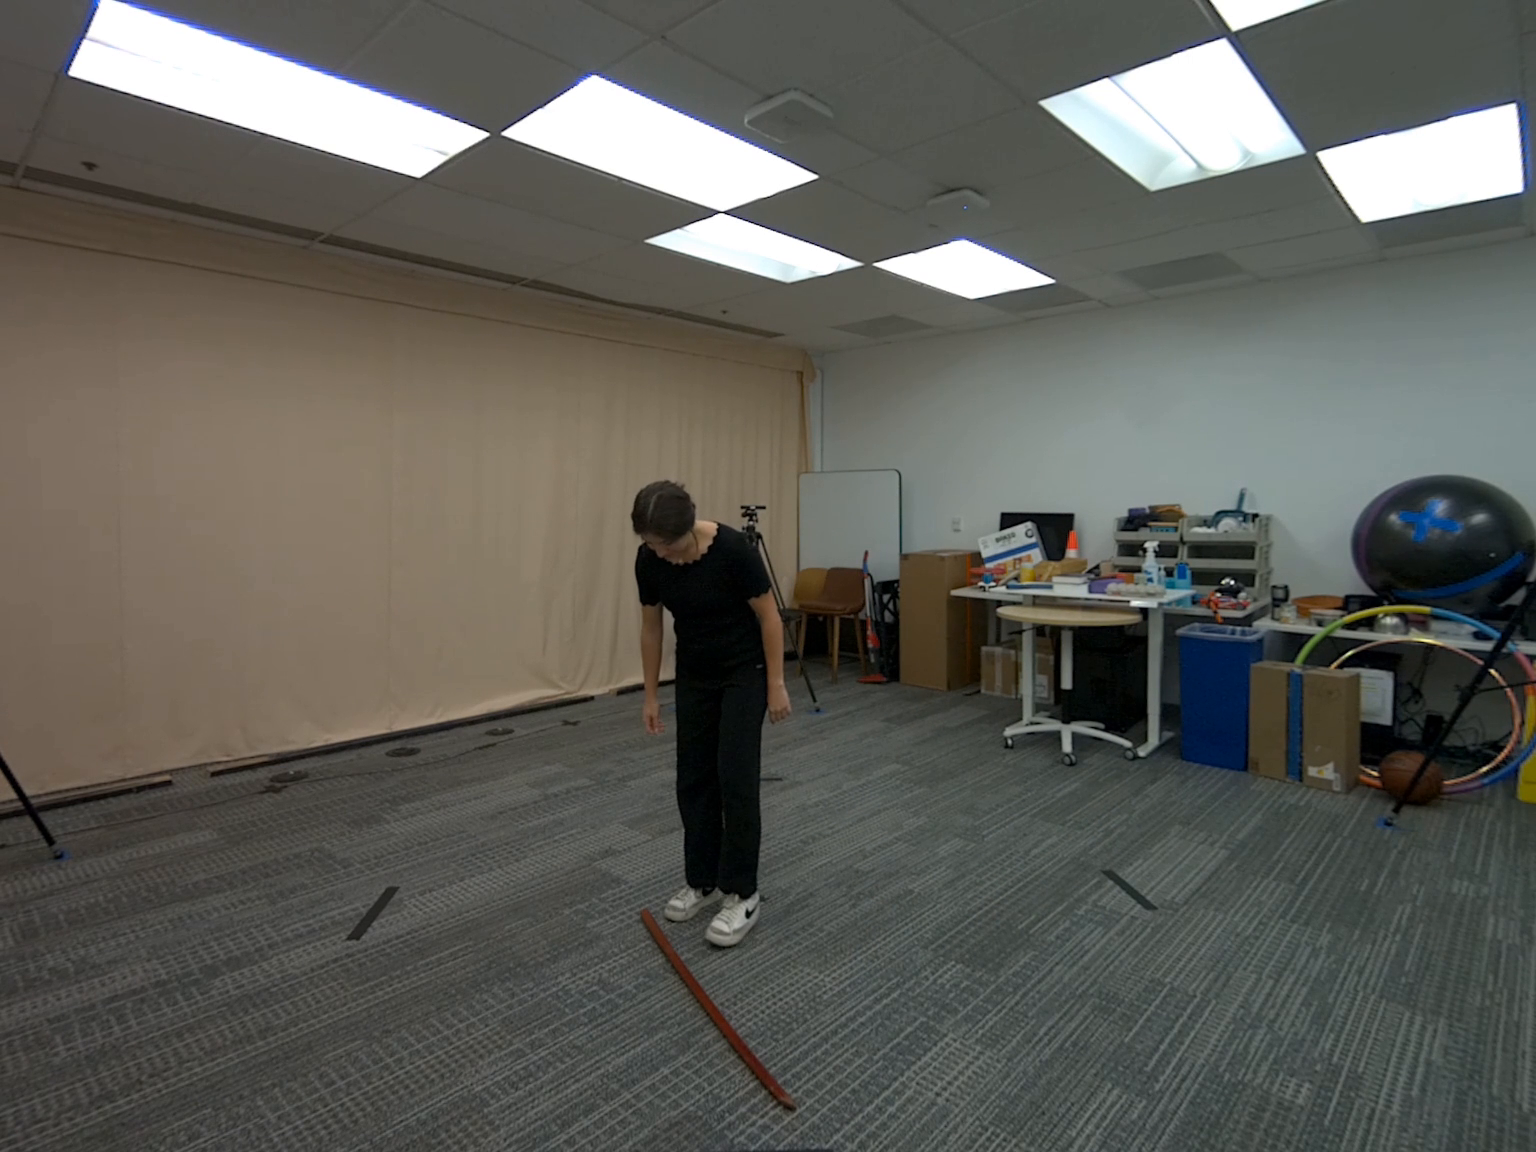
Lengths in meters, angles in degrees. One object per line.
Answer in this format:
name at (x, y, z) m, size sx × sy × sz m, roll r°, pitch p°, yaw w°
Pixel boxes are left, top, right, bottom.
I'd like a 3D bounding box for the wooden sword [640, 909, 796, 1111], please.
wooden sword at (-0.181, 1.172, 2.398) m, size 0.050 × 0.024 × 1.052 m, roll -1°, pitch 5°, yaw -26°
